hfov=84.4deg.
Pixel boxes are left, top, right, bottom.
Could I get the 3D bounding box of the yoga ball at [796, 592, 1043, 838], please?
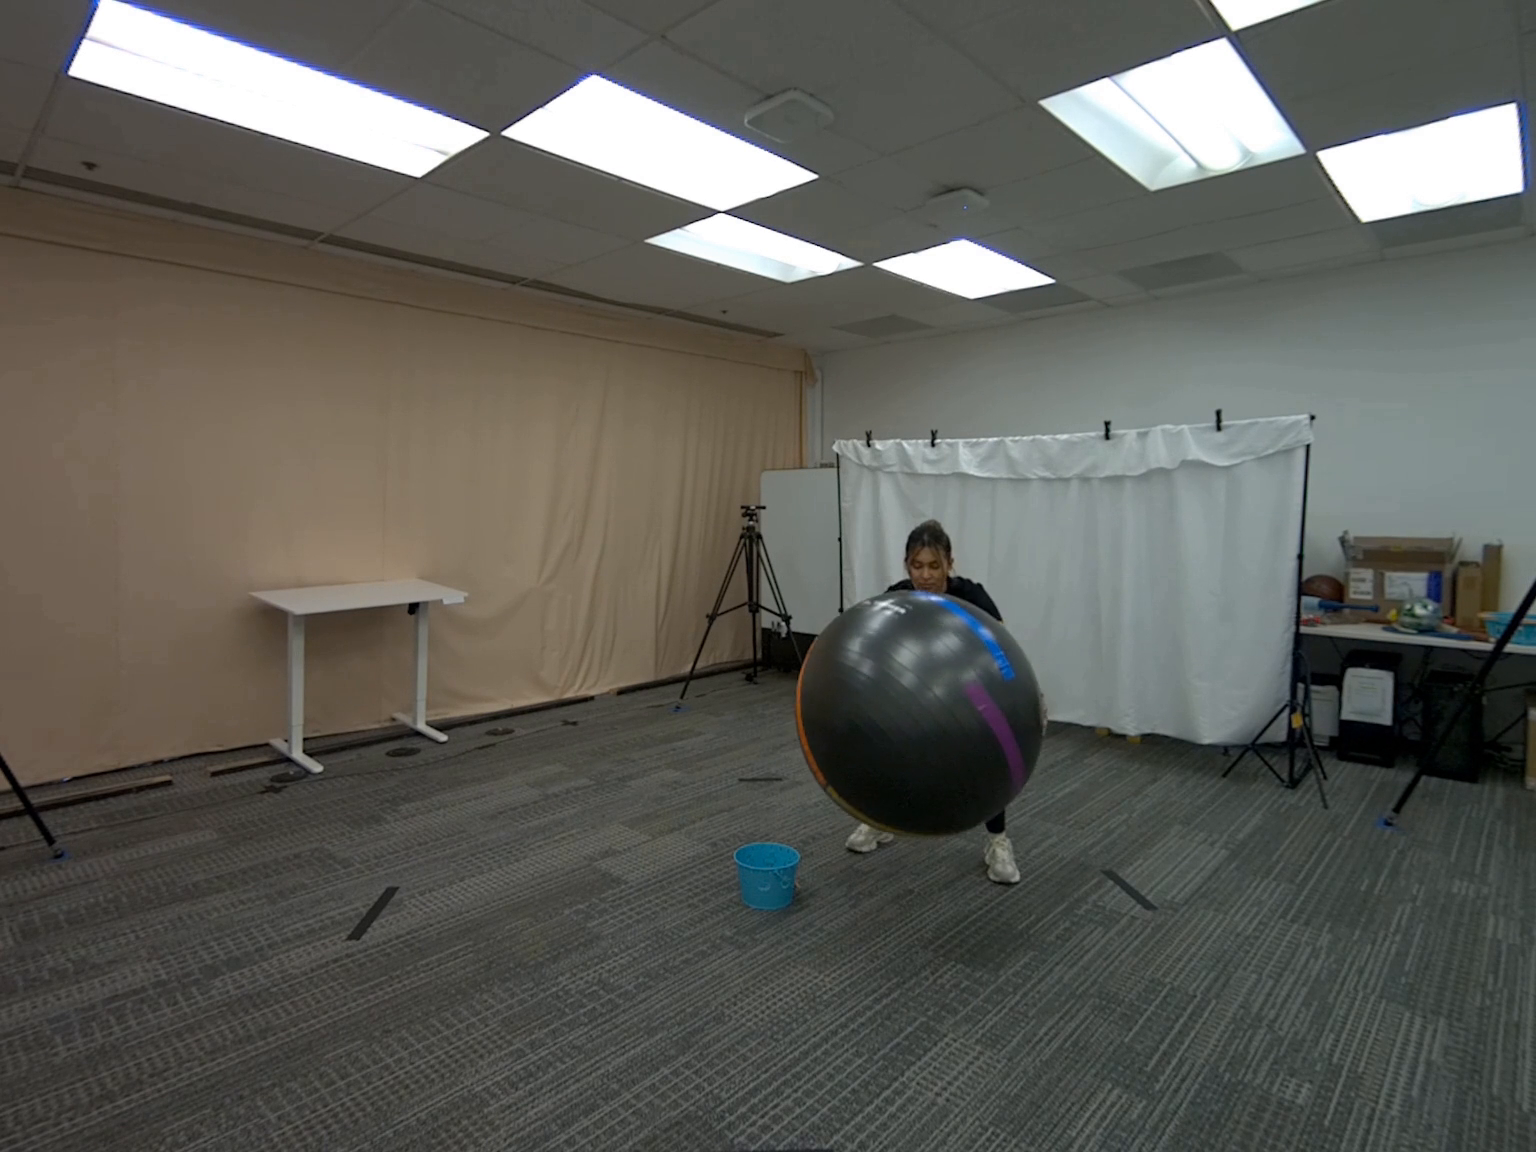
[{"bbox_3d":[0.465,0.429,2.645,0.757,0.756,0.760,0,4,-2],"label":"yoga ball"}]
